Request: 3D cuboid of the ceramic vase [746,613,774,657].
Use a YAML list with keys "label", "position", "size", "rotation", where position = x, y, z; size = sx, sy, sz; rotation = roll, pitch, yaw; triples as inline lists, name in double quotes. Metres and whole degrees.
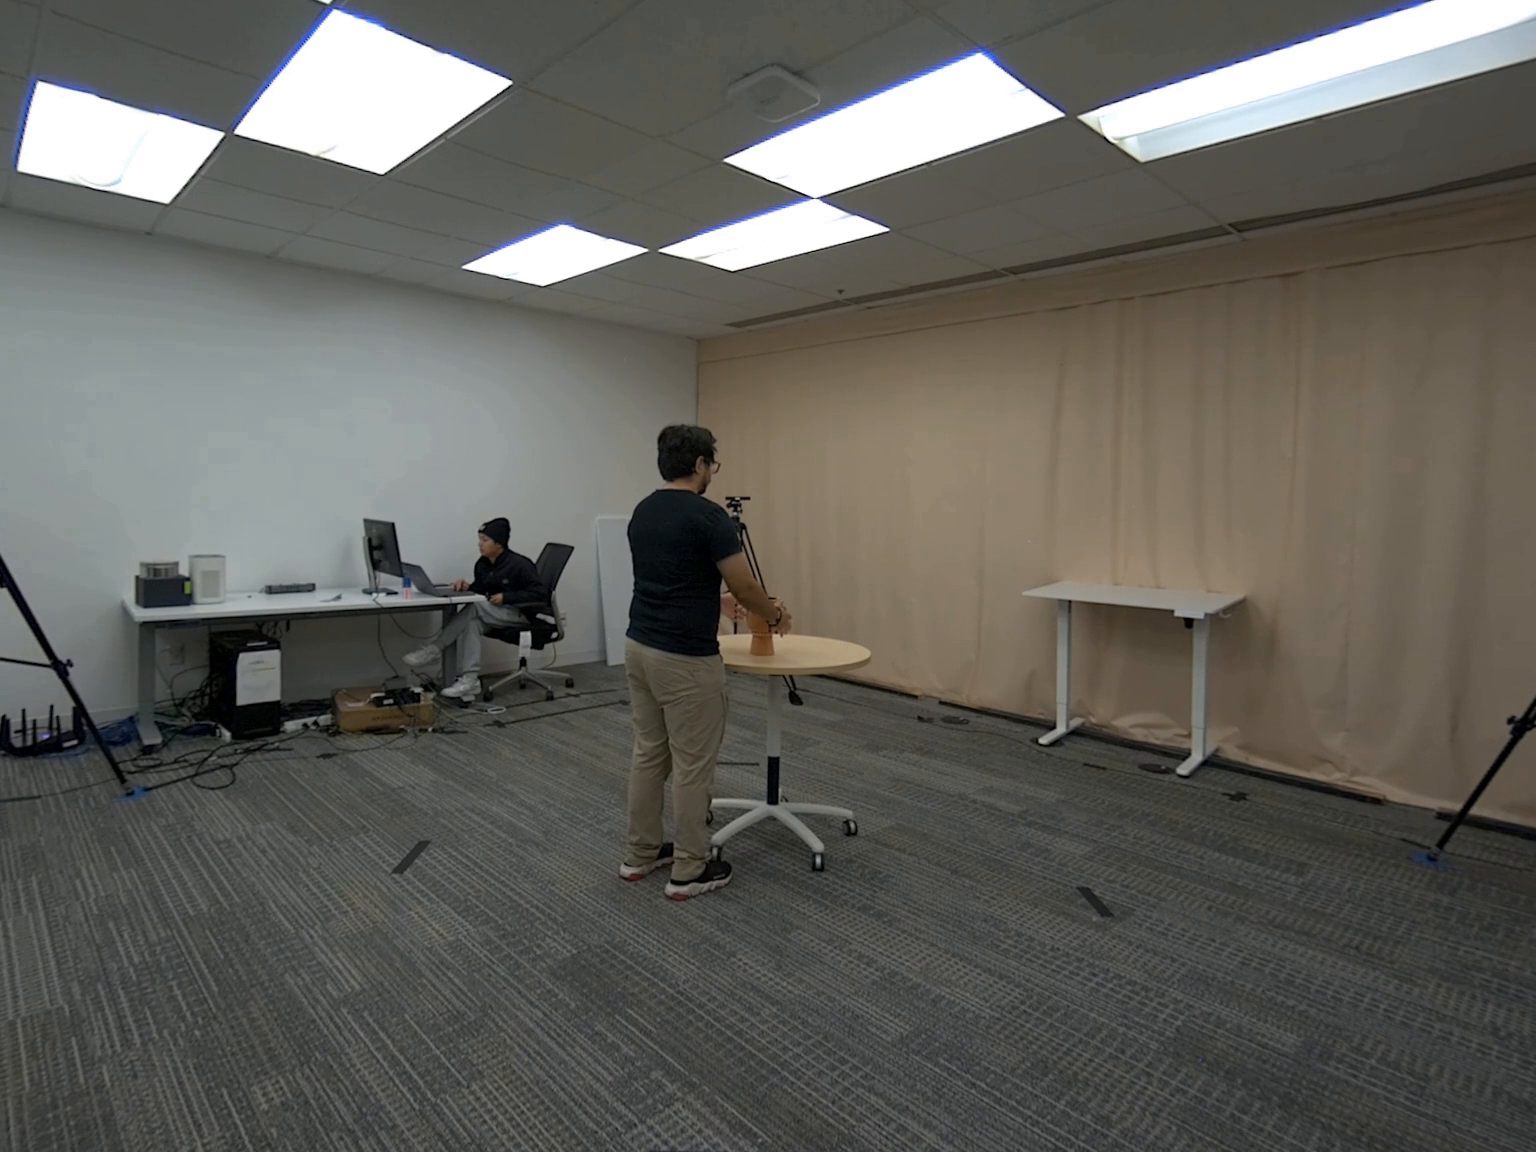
- label: "ceramic vase"
  position: [-0.026, 0.201, 3.330]
  size: [0.161, 0.219, 0.133]
  rotation: [3, 6, 22]
